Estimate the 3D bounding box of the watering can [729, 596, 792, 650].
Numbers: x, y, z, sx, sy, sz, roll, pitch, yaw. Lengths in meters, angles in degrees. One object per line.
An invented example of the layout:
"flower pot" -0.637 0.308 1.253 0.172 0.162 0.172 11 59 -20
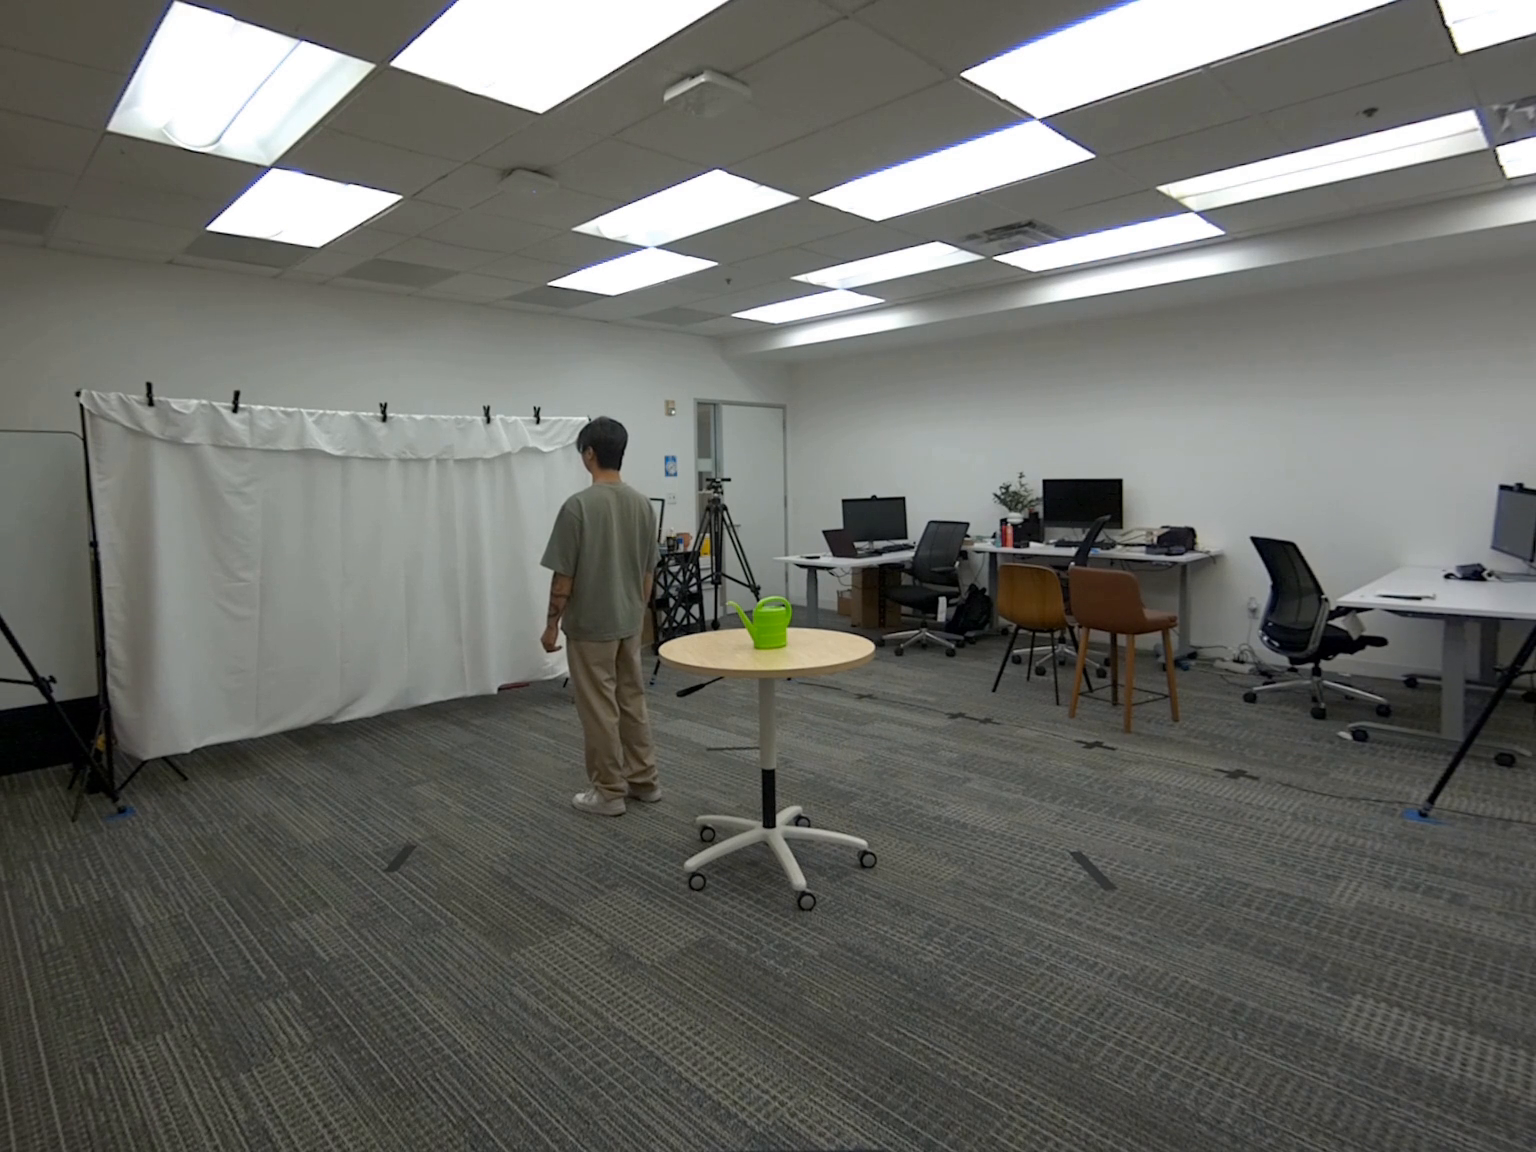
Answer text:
"watering can" -0.028 0.164 3.025 0.273 0.176 0.100 -2 3 -23
